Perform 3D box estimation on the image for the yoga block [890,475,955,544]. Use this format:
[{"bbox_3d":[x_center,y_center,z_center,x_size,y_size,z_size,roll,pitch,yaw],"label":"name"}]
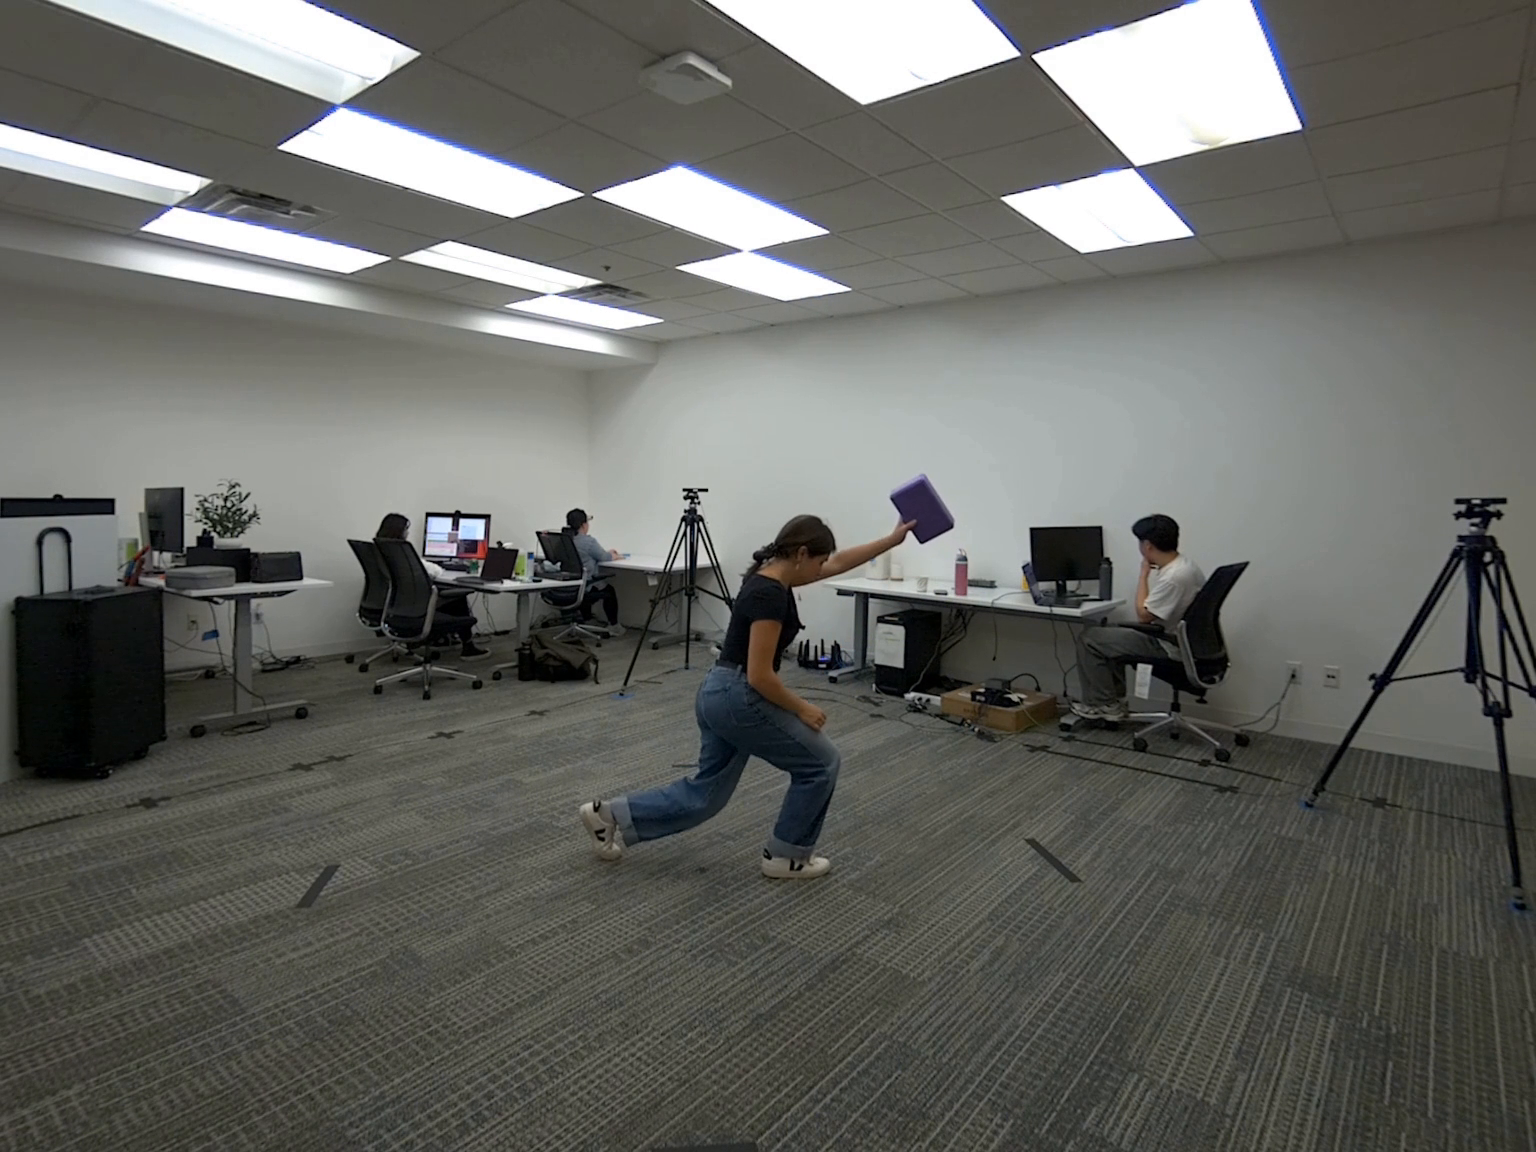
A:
[{"bbox_3d":[0.589,-0.256,3.216,0.150,0.226,0.077,-30,11,25],"label":"yoga block"}]
